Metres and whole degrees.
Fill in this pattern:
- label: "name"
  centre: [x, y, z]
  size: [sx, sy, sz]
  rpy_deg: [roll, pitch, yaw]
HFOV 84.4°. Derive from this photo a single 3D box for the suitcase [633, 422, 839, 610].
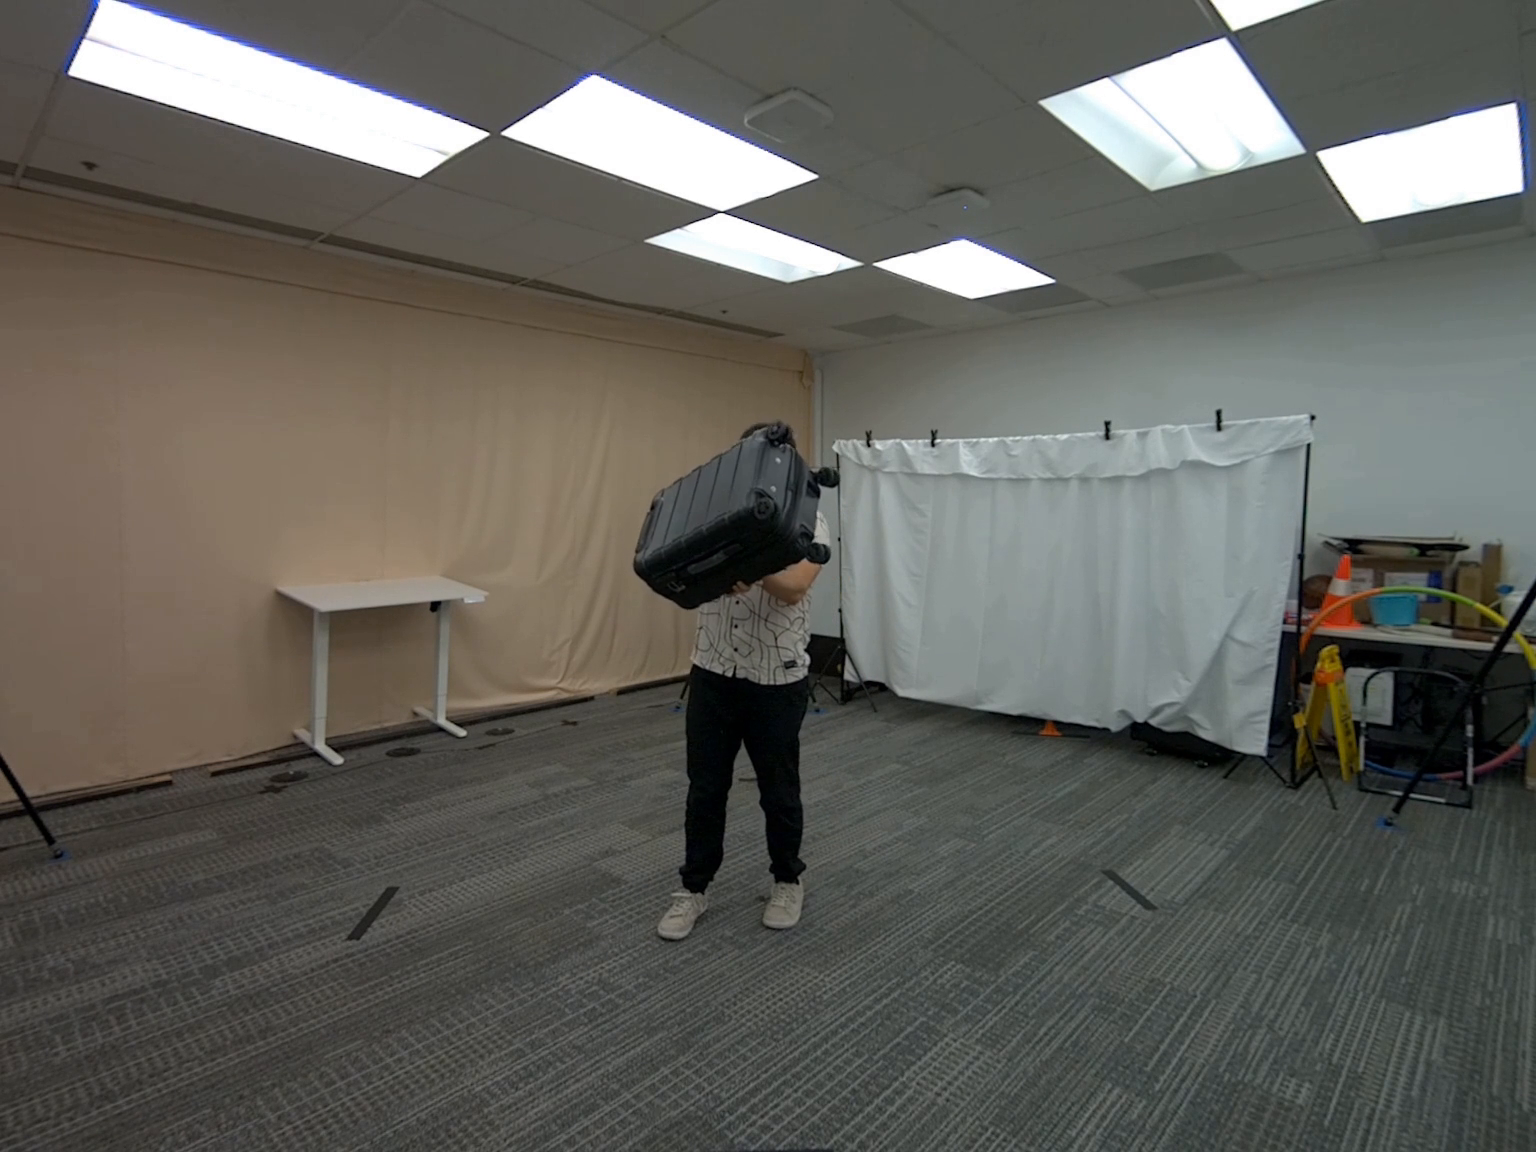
- label: "suitcase"
  centre: [-0.102, -0.146, 2.357]
  size: [0.560, 0.380, 0.240]
  rpy_deg: [-25, -49, 36]
